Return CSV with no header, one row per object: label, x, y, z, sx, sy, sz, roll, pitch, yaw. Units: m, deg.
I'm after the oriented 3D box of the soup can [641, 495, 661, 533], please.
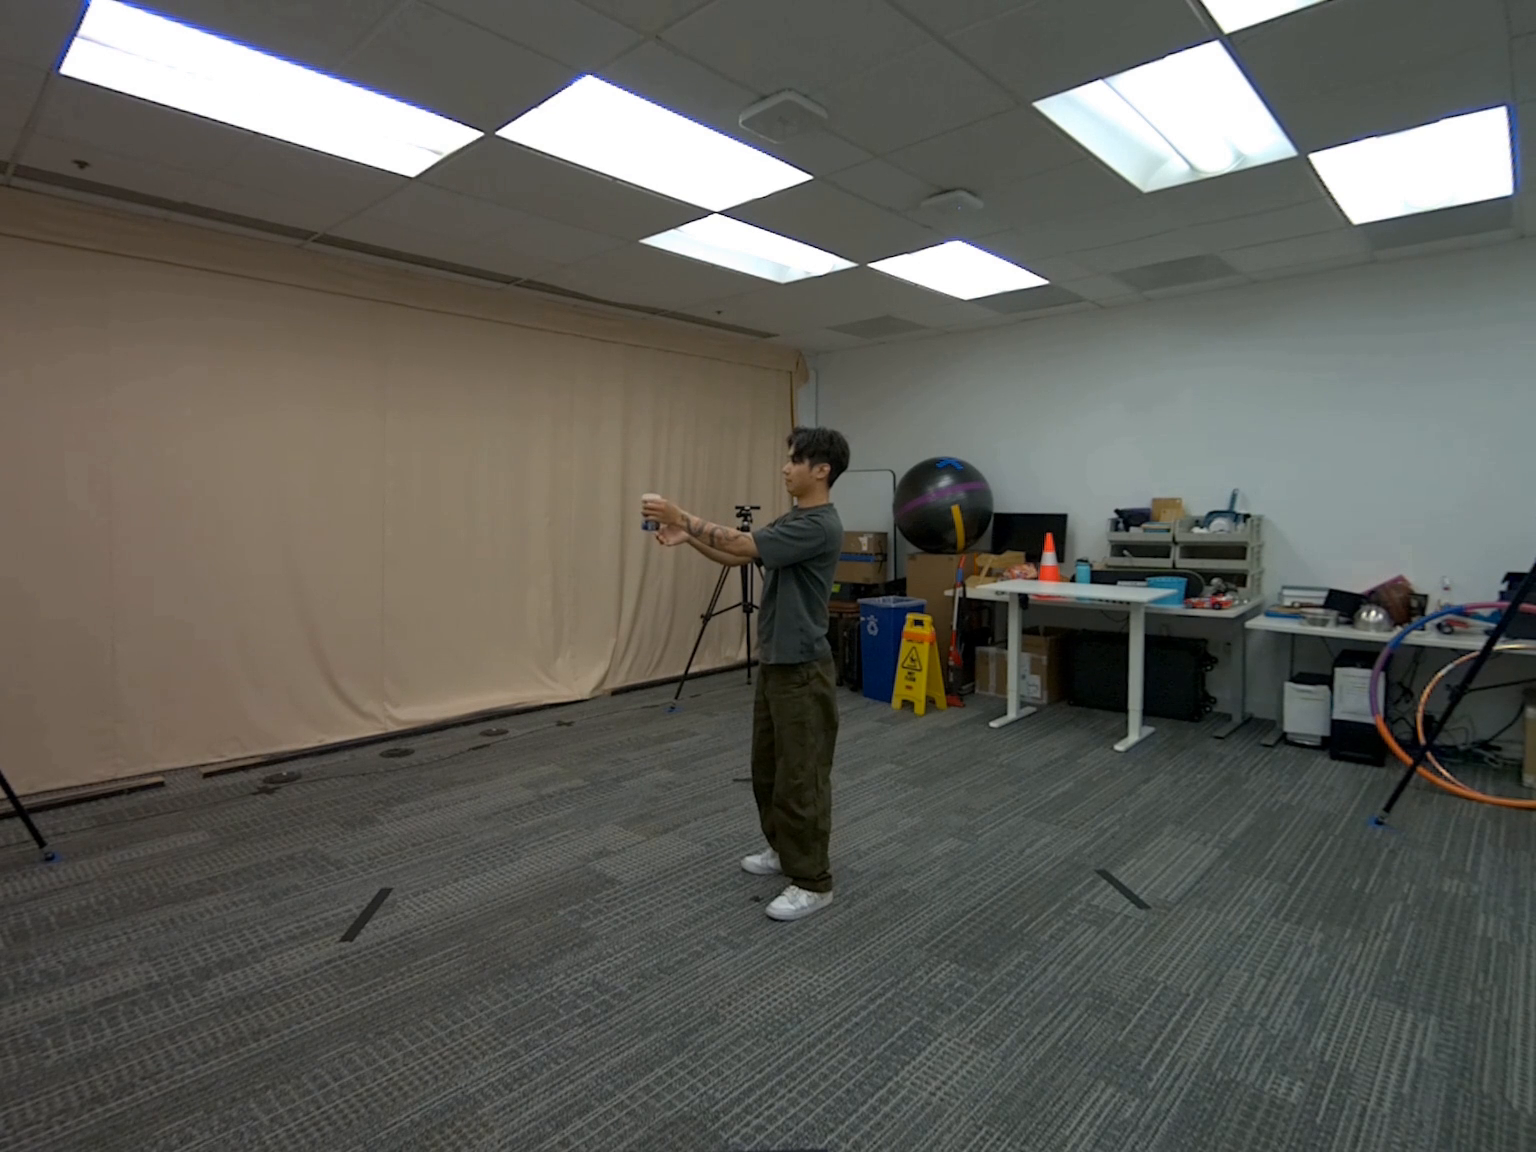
soup can,-0.405,-0.220,2.919,0.067,0.121,0.067,-2,10,-2
